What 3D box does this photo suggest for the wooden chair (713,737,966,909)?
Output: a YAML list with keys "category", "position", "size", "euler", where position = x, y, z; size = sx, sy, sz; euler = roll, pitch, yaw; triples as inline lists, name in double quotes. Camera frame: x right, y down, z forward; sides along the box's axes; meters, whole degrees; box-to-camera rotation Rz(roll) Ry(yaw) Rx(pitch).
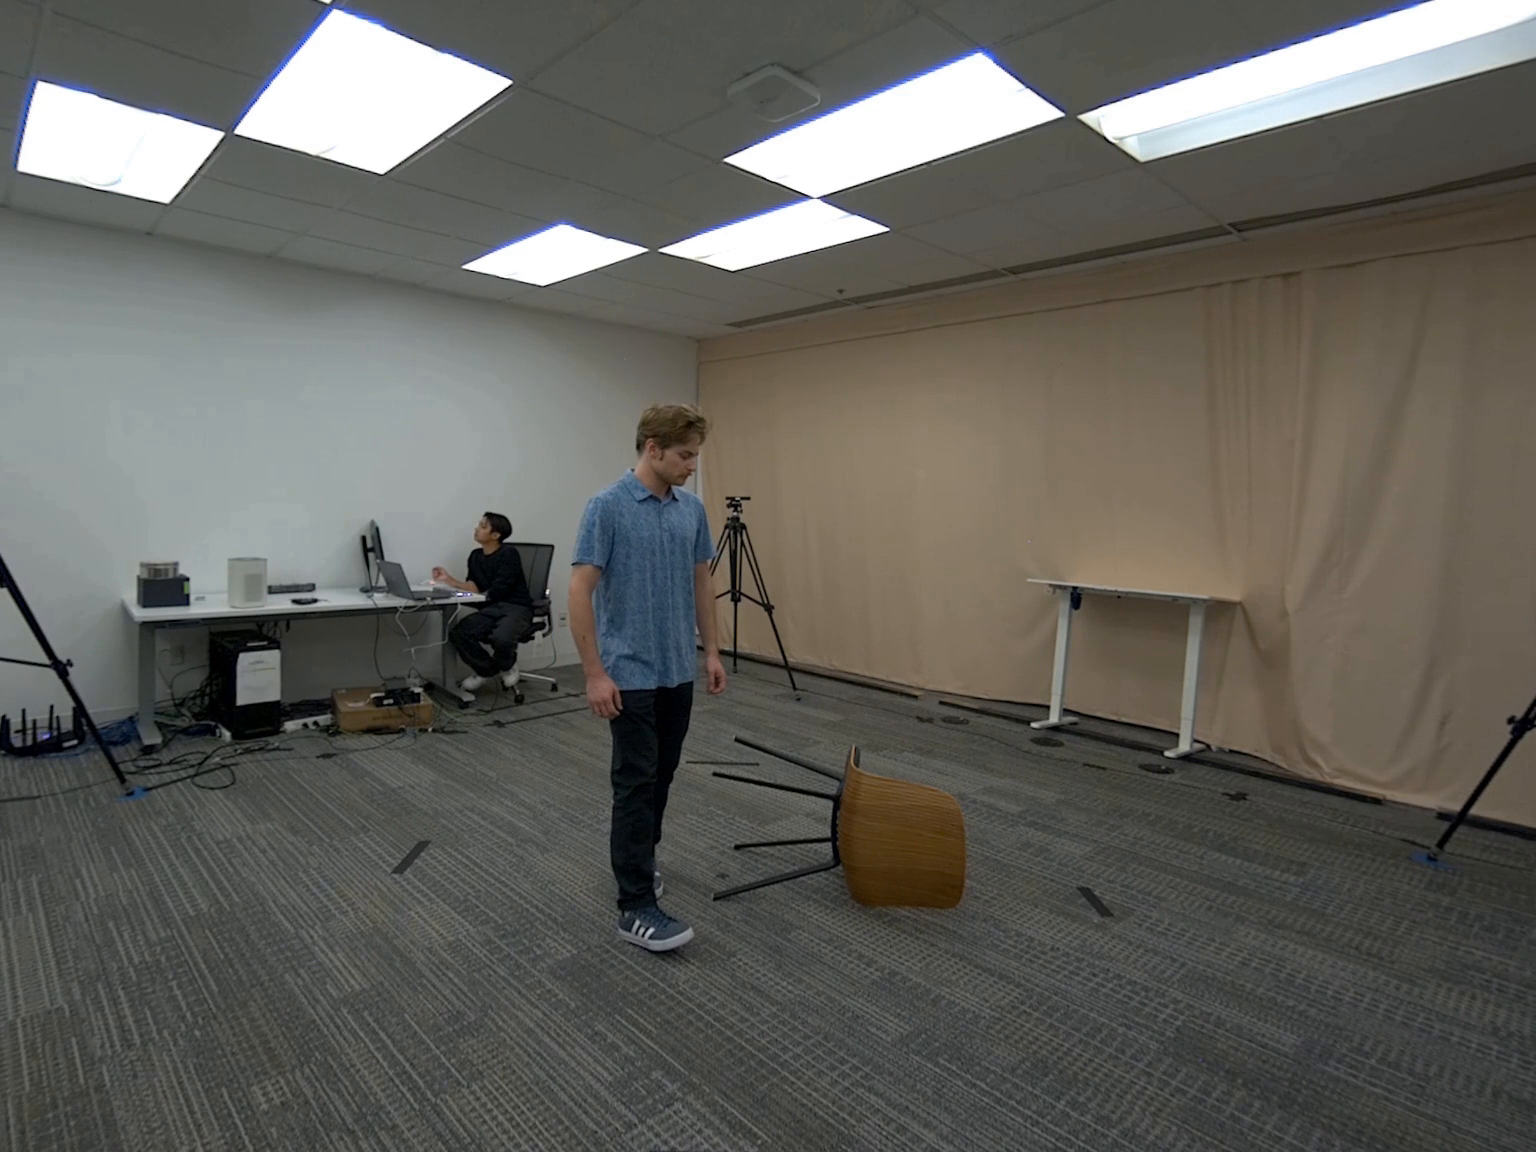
- category: "wooden chair"
  position: [0.258, 0.890, 3.060]
  size: [0.887, 0.477, 0.518]
  euler: [1, 3, 14]
